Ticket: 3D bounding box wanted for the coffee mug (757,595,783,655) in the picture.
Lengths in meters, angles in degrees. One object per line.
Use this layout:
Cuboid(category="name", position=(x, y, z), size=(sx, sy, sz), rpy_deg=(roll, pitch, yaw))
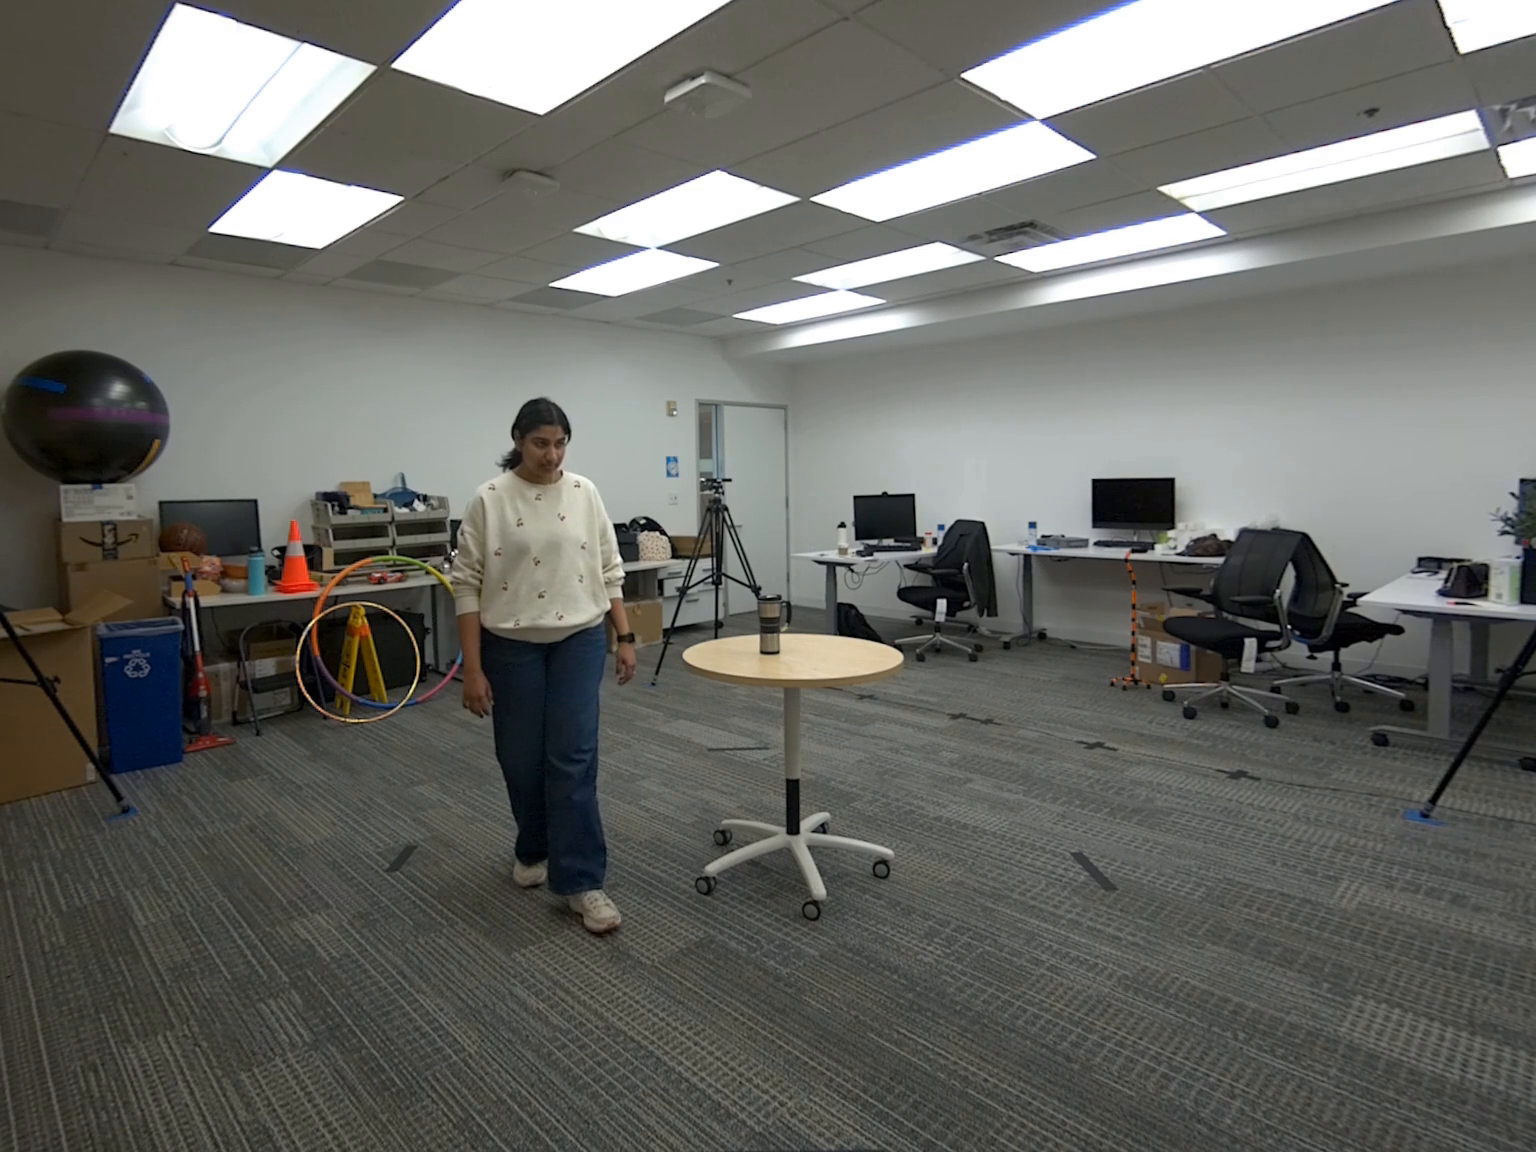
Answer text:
Cuboid(category="coffee mug", position=(0.023, 0.173, 2.979), size=(0.125, 0.203, 0.085), rpy_deg=(-1, -1, 34))
